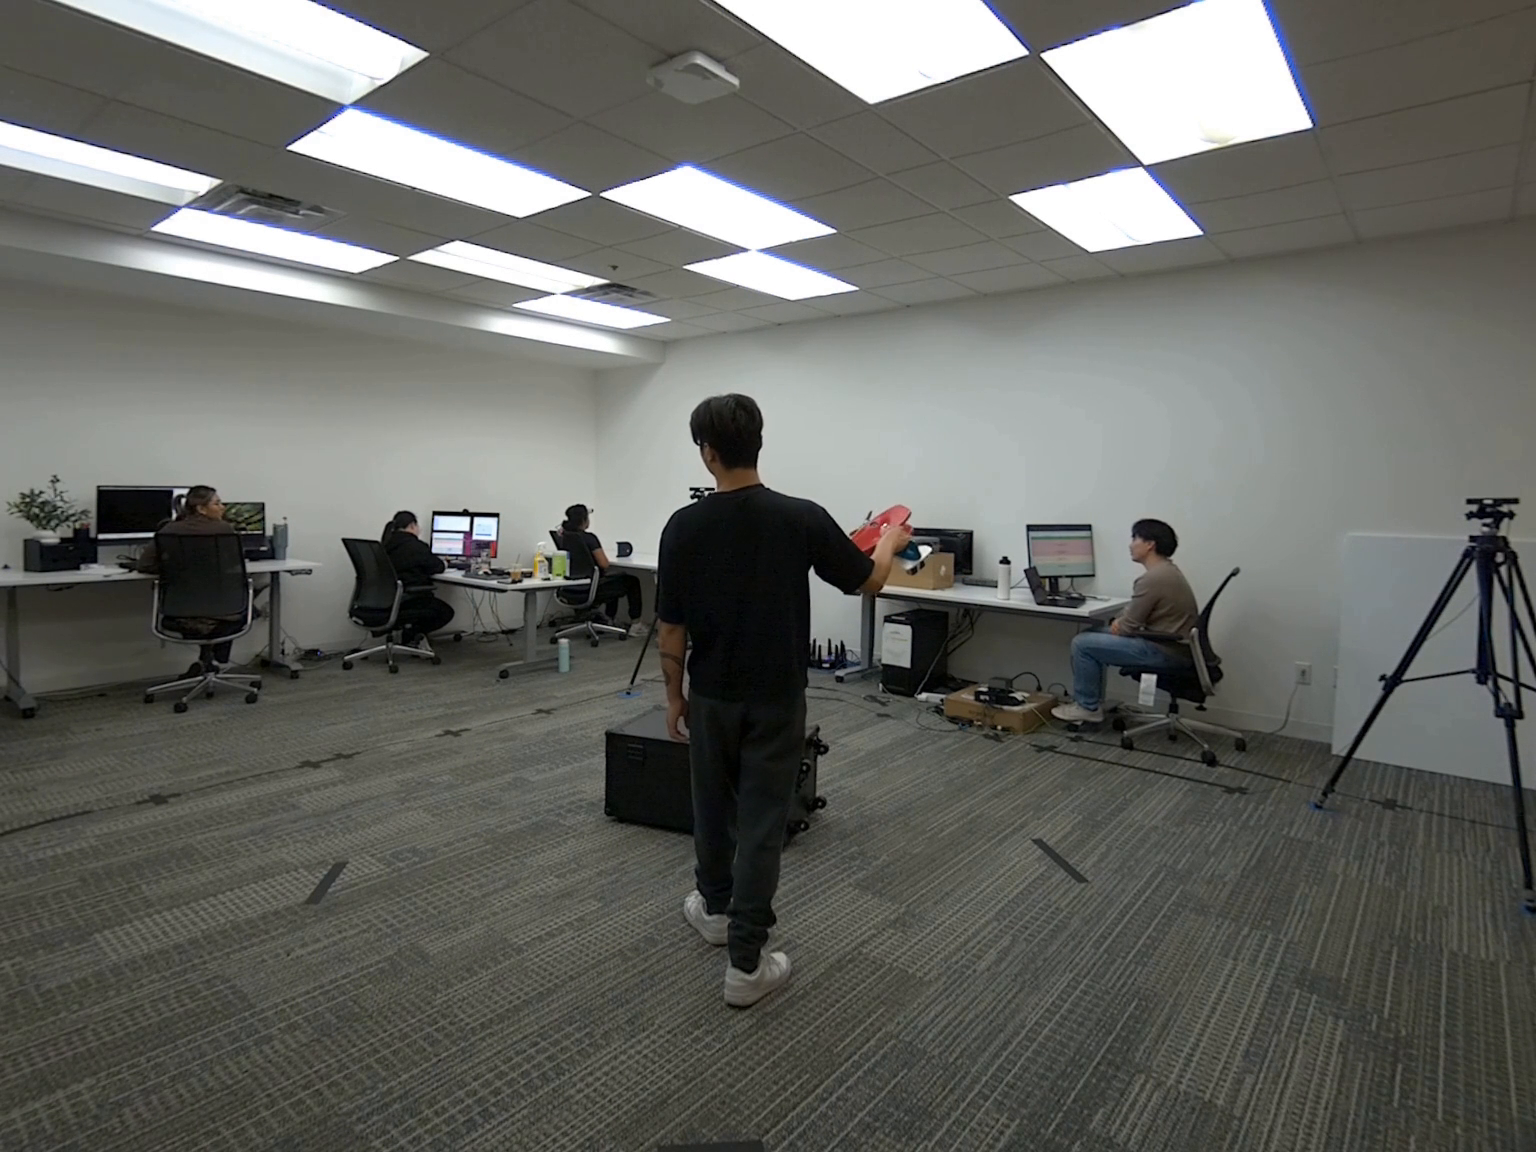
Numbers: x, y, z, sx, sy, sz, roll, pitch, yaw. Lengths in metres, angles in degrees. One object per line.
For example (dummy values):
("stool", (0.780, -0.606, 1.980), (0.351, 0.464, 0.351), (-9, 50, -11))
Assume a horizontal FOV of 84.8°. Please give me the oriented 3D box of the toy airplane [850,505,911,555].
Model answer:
("toy airplane", (0.404, -0.108, 2.780), (0.266, 0.151, 0.253), (-4, 36, 34))
